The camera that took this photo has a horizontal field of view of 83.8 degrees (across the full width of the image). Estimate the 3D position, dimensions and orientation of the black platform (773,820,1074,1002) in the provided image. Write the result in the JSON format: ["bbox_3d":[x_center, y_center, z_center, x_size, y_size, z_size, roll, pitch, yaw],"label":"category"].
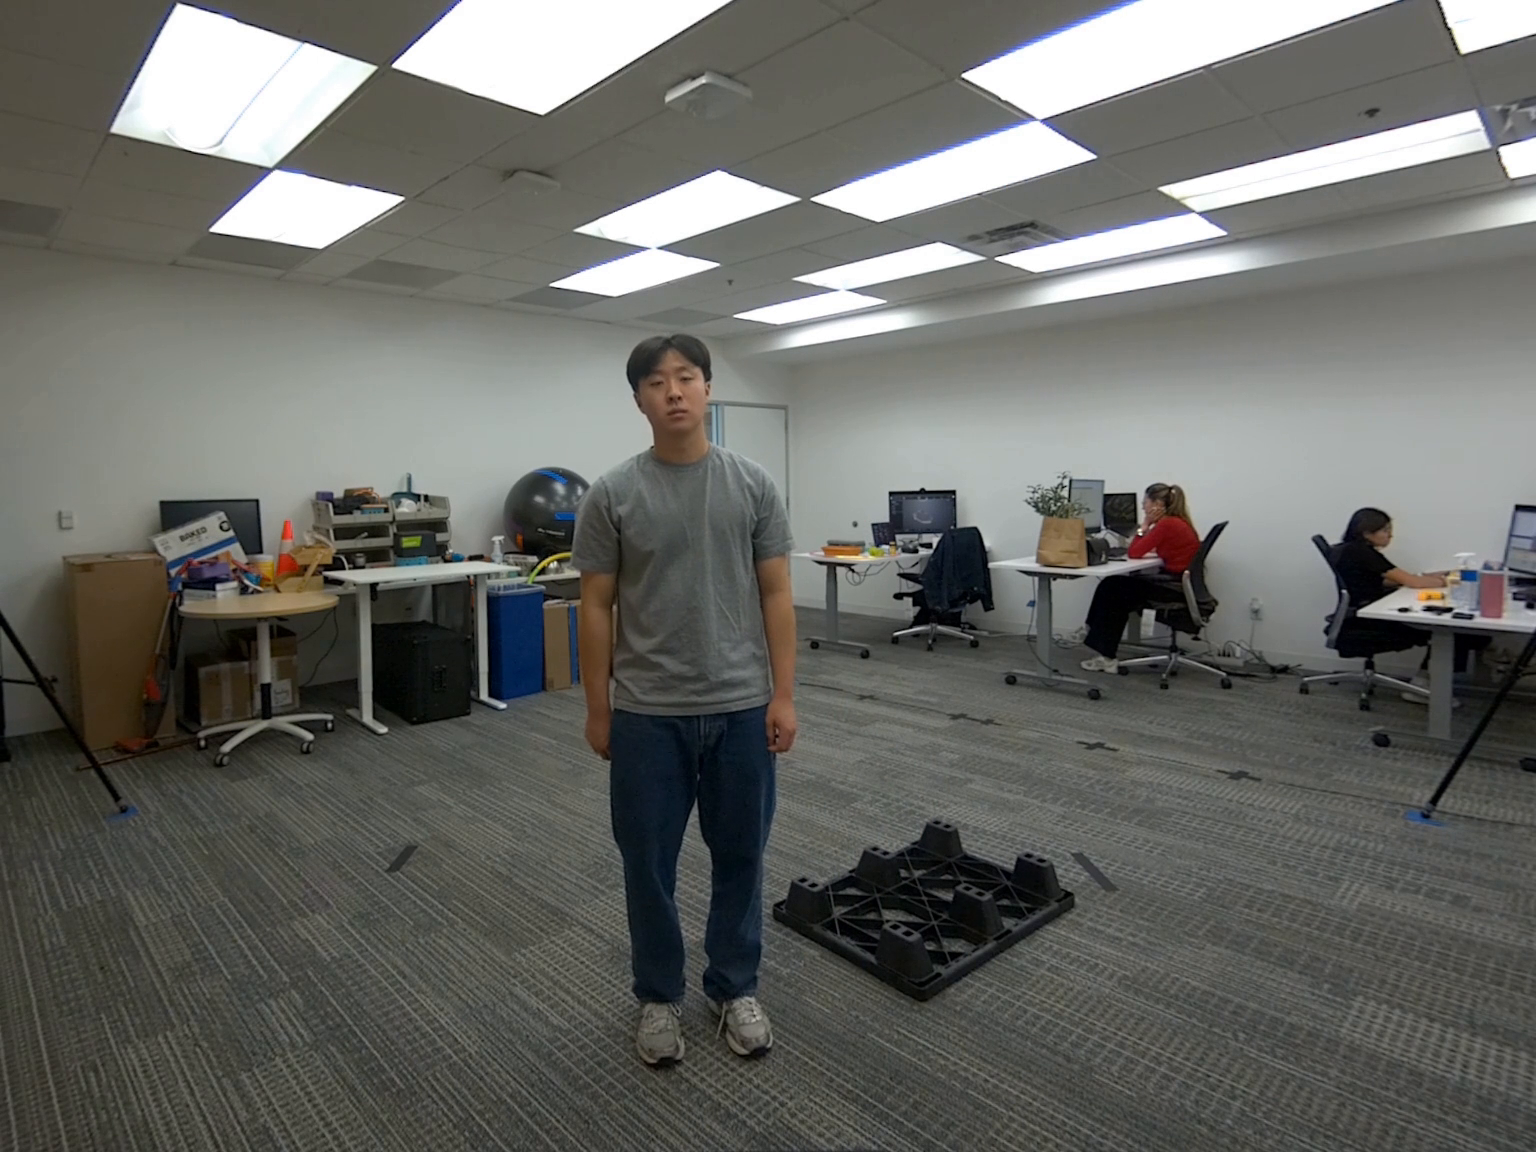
[{"bbox_3d":[0.506,1.011,2.741,0.784,0.142,0.624,-6,9,-40],"label":"black platform"}]
